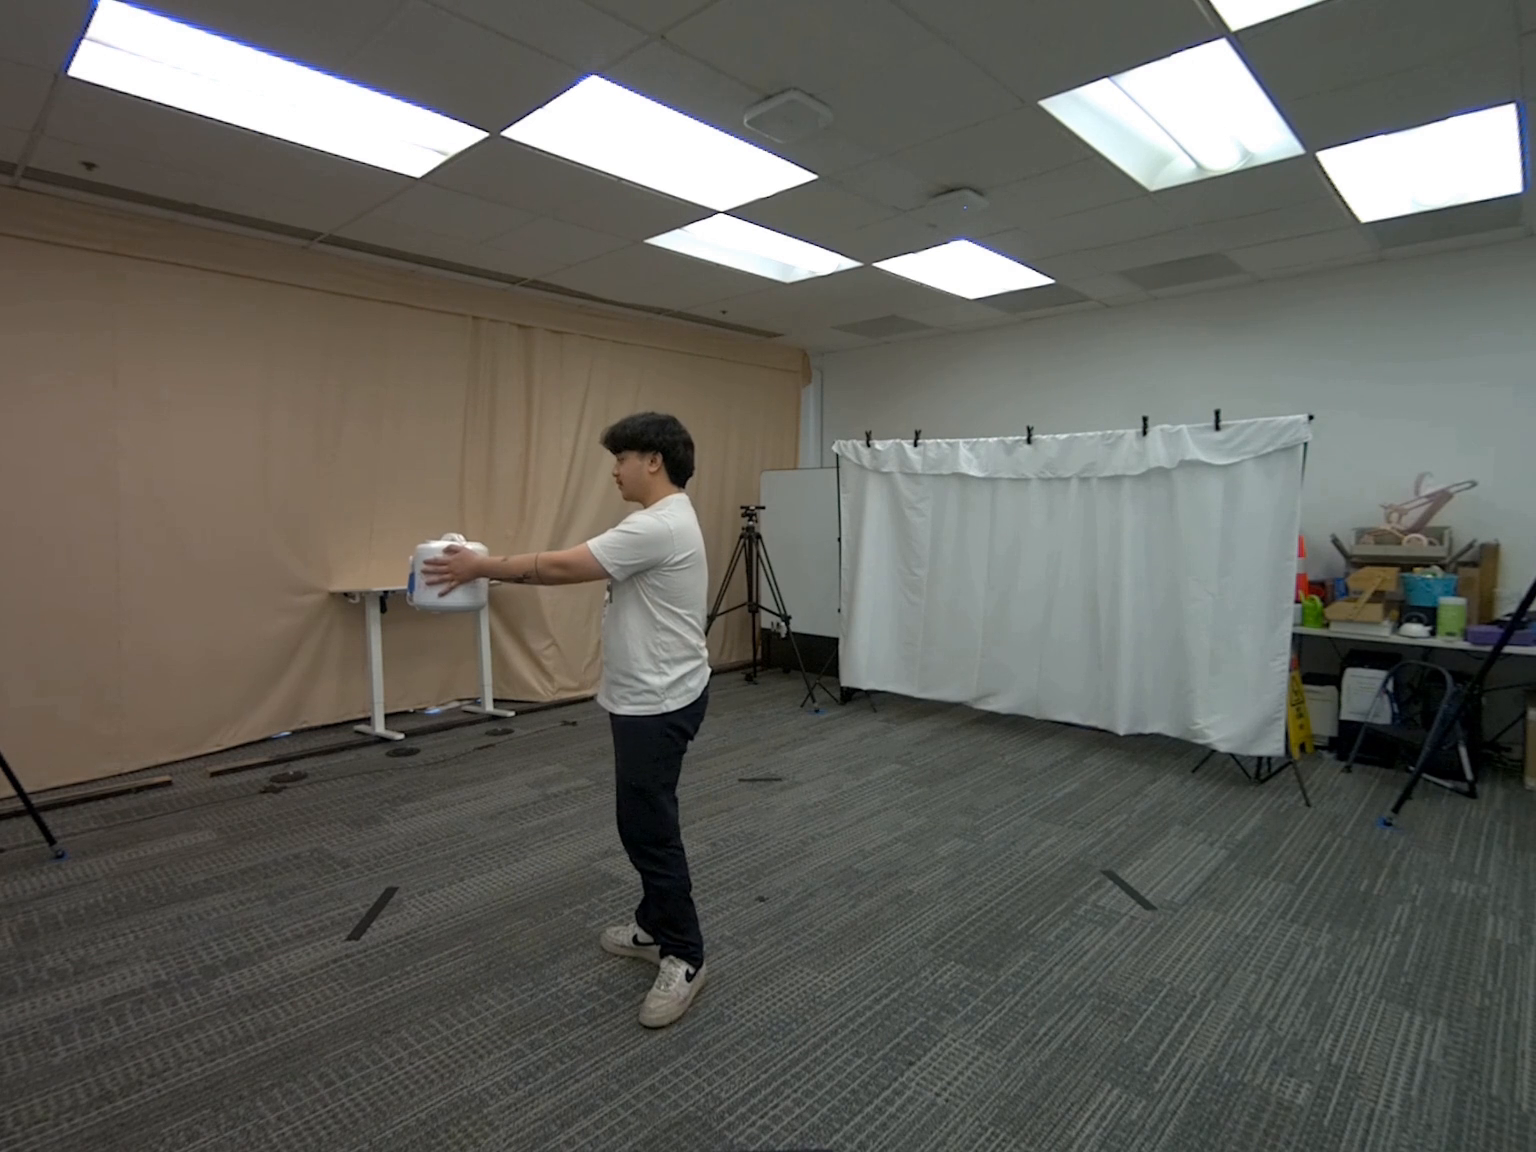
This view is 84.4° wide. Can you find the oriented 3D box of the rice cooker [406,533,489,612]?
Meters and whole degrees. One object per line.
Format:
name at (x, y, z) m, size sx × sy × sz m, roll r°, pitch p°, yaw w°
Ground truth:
rice cooker at (-0.942, -0.011, 2.498) m, size 0.210 × 0.233 × 0.227 m, roll 2°, pitch -1°, yaw -39°
